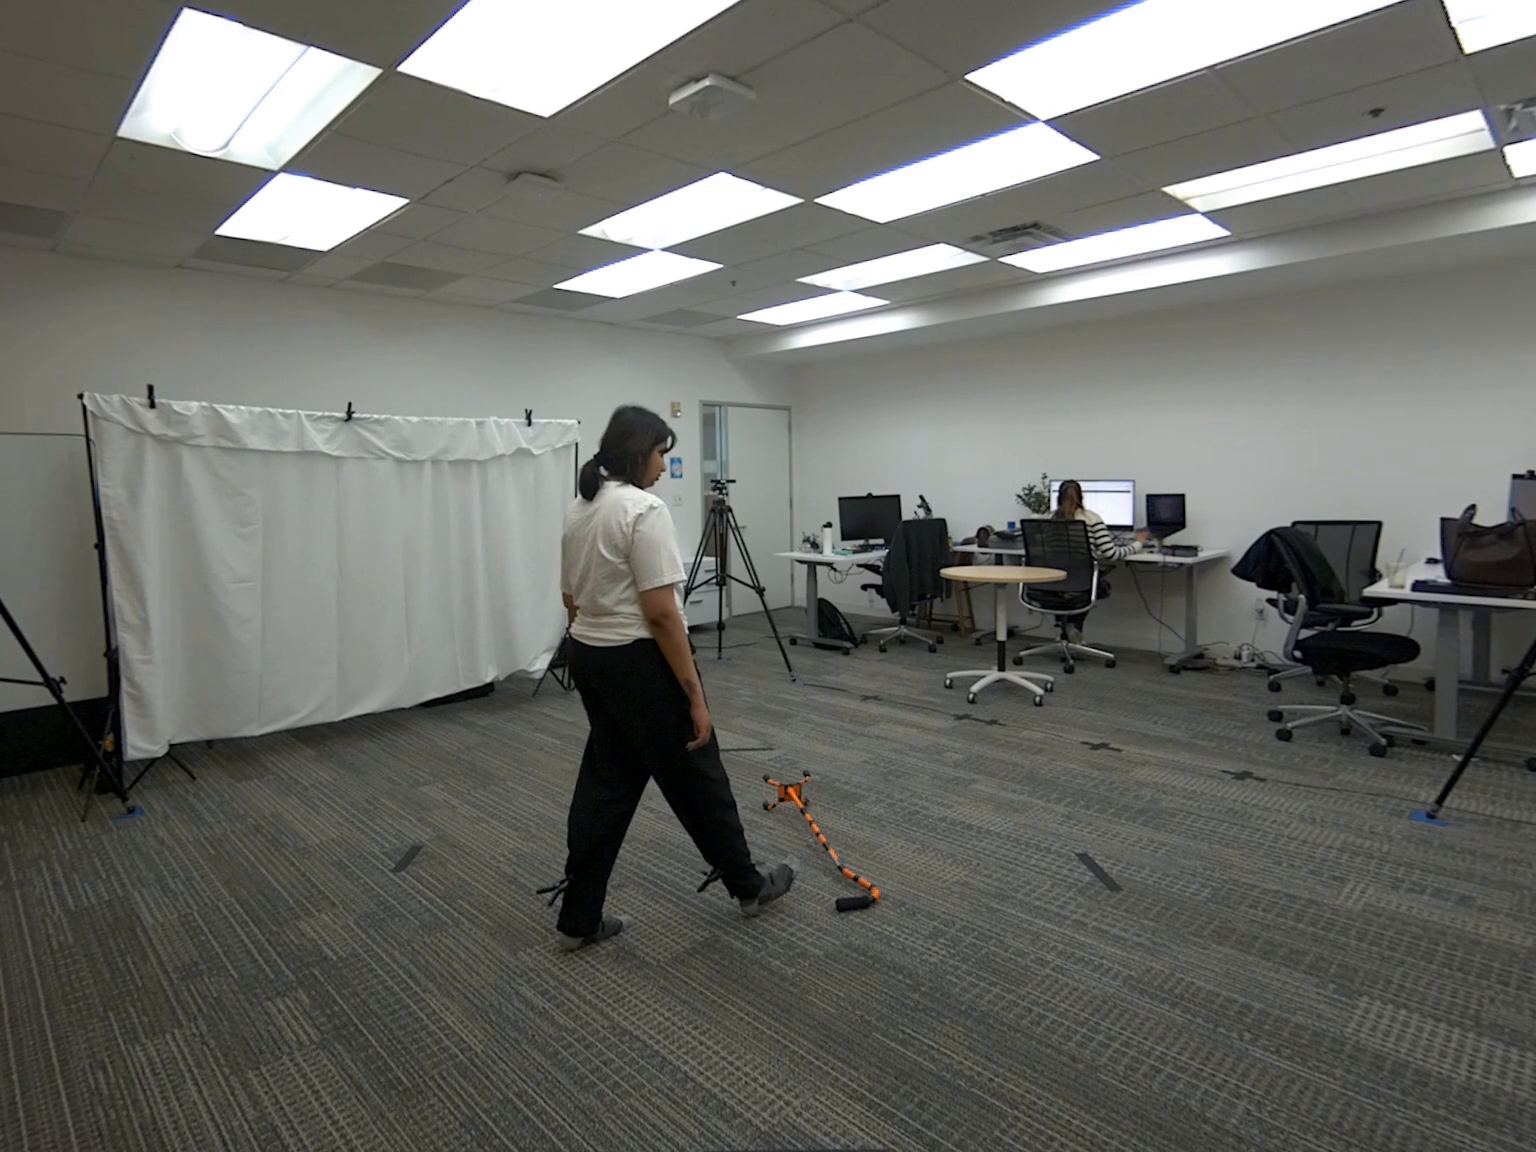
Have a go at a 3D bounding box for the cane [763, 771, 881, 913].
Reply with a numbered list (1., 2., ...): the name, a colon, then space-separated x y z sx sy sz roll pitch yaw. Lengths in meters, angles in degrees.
1. cane: 0.197 0.985 3.210 0.204 0.150 0.927 -1 11 -15
